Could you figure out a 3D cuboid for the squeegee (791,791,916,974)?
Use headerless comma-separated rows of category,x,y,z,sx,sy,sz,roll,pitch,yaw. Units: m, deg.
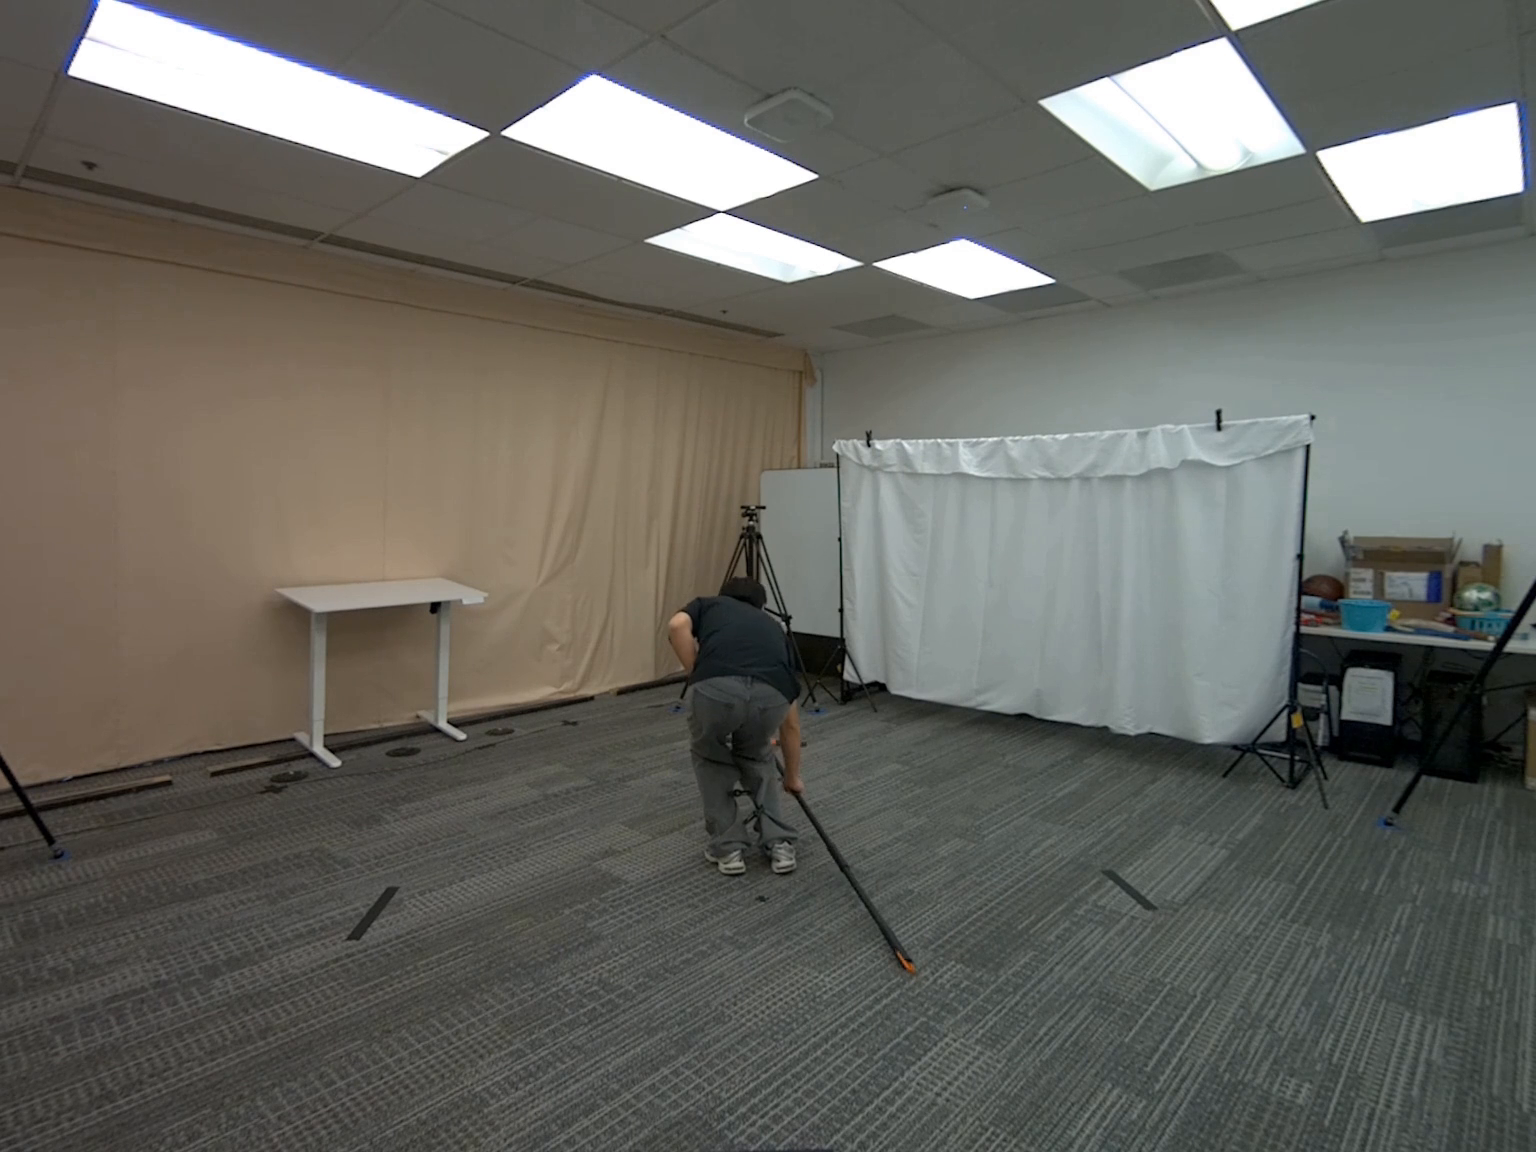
squeegee,0.218,0.953,3.232,0.429,0.052,1.575,3,13,-18
